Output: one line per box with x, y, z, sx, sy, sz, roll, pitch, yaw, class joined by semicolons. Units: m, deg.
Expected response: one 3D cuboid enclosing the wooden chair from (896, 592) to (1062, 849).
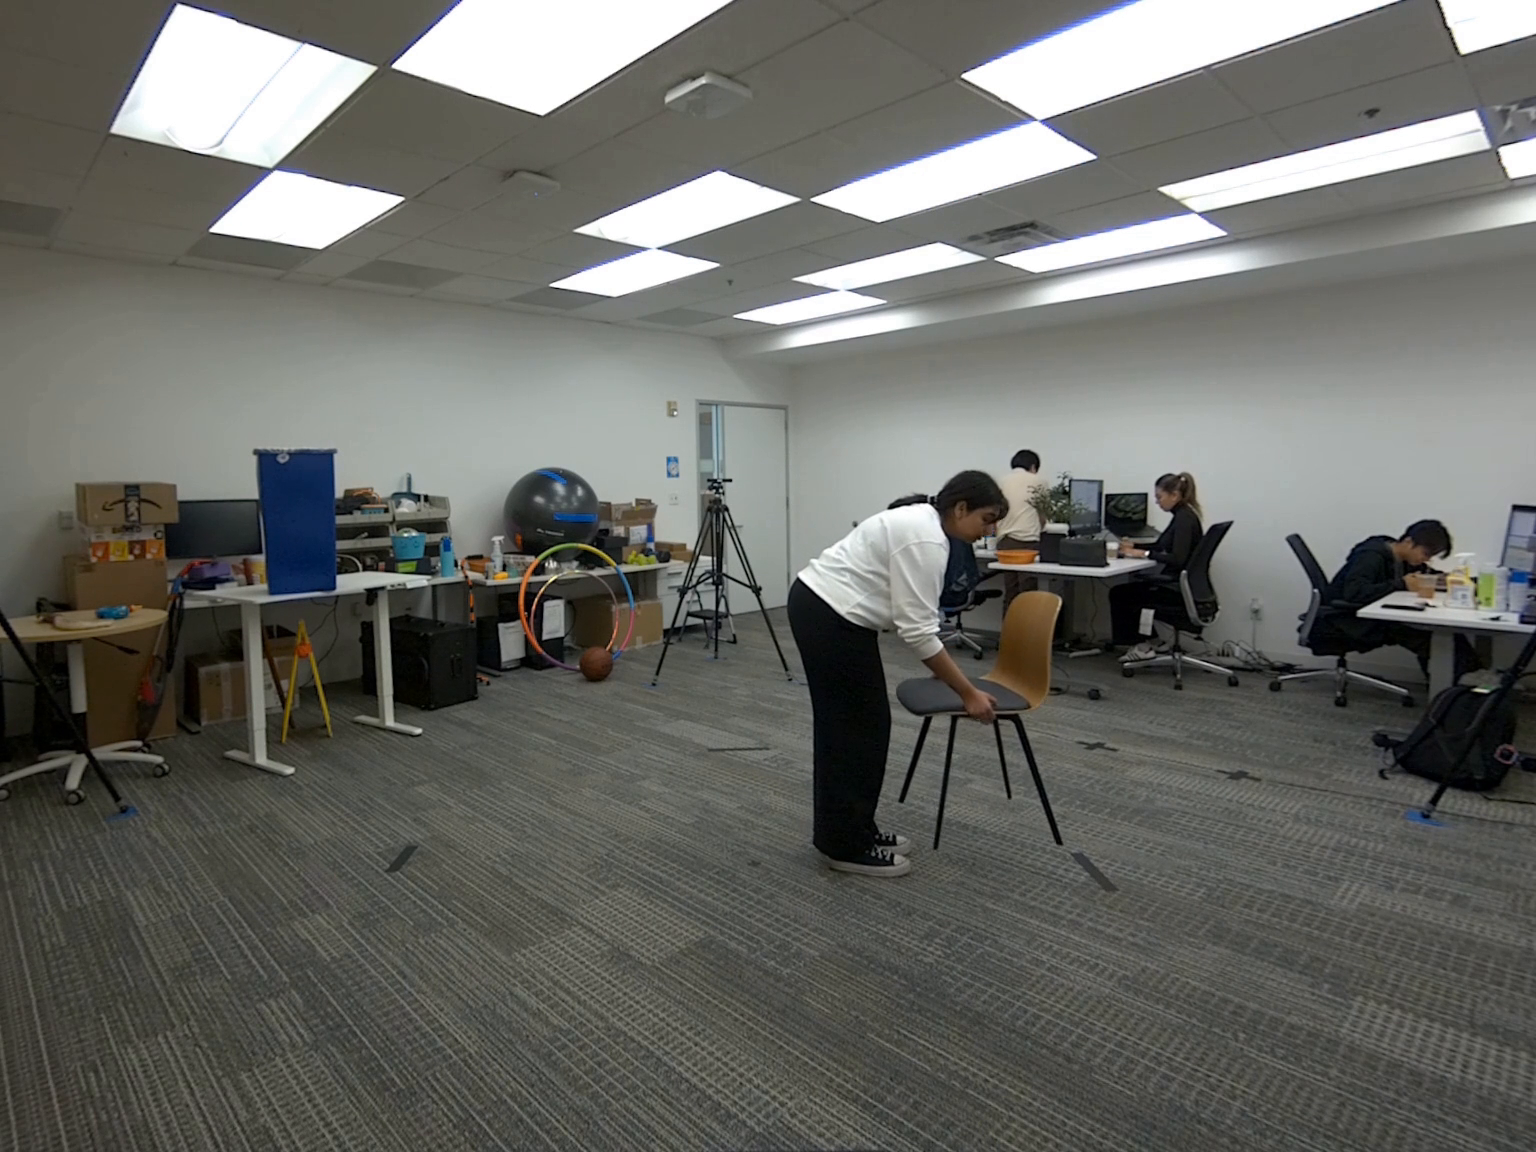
0.750;0.482;3.127;0.521;0.874;0.482;3;4;-5;wooden chair
